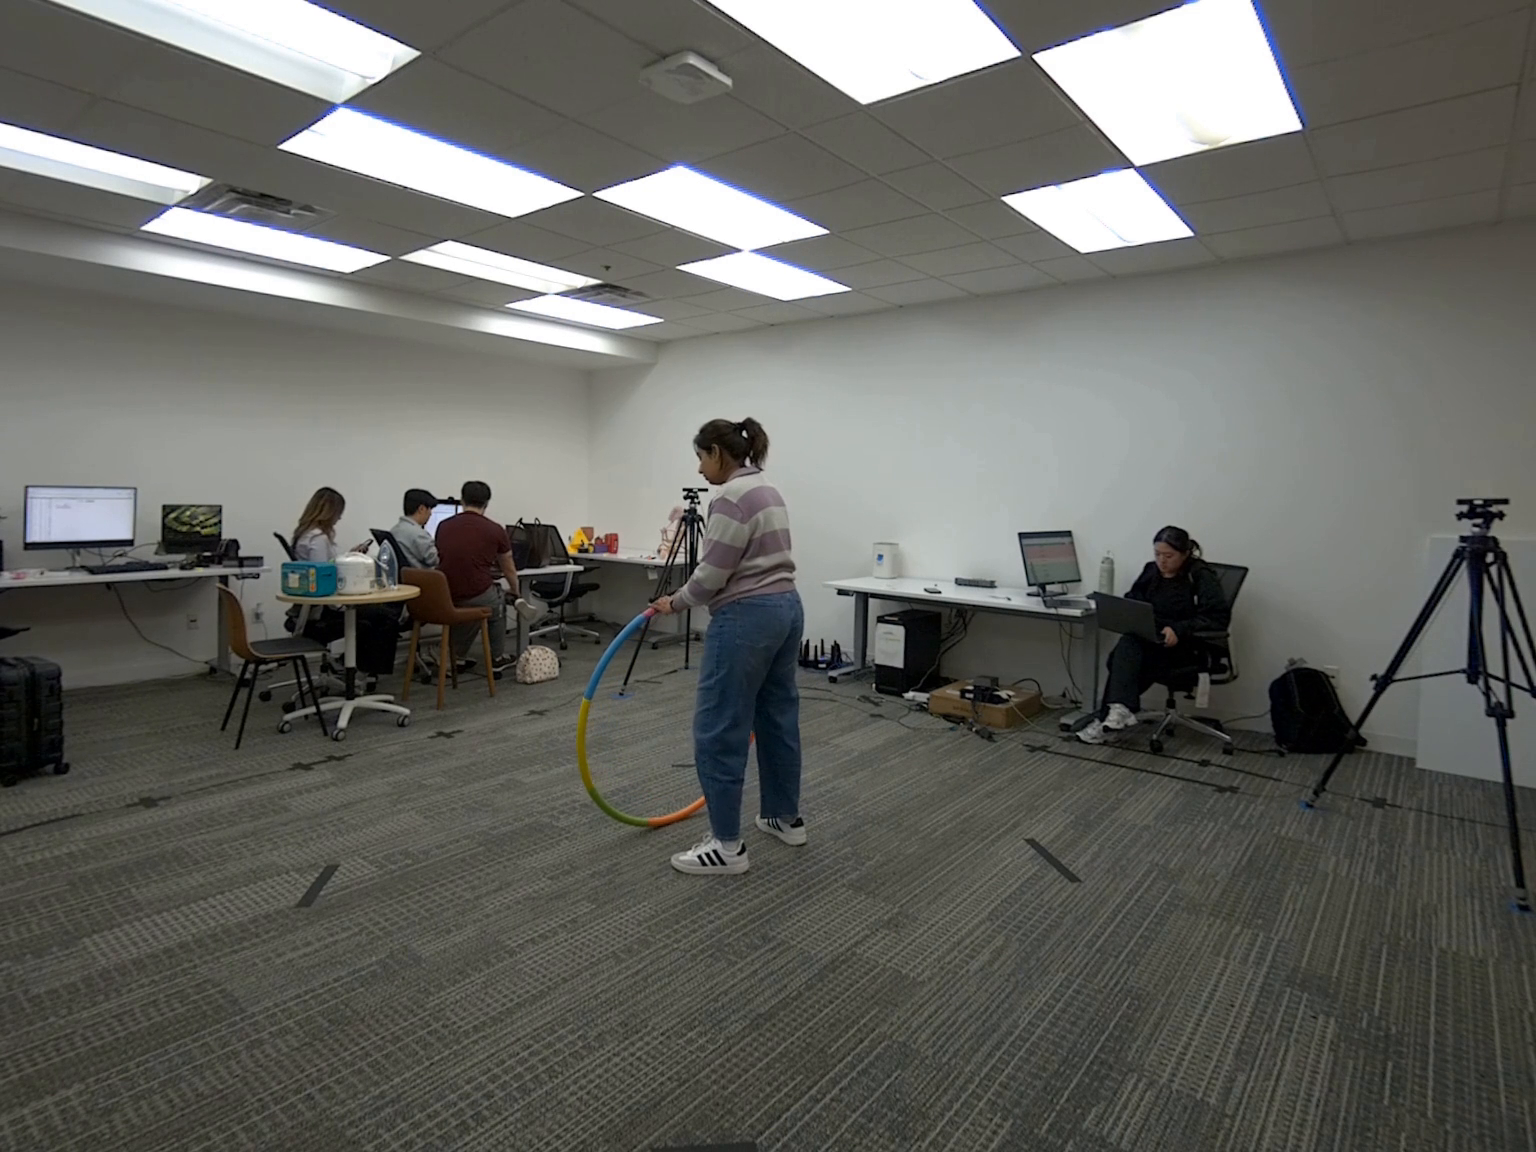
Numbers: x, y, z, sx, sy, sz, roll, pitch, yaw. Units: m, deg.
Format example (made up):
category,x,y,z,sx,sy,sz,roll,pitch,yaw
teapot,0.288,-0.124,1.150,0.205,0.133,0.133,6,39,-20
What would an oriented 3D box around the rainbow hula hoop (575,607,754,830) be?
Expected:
category,x,y,z,sx,sy,sz,roll,pitch,yaw
rainbow hula hoop,-0.375,0.549,3.477,0.955,0.979,0.053,-3,11,-44
